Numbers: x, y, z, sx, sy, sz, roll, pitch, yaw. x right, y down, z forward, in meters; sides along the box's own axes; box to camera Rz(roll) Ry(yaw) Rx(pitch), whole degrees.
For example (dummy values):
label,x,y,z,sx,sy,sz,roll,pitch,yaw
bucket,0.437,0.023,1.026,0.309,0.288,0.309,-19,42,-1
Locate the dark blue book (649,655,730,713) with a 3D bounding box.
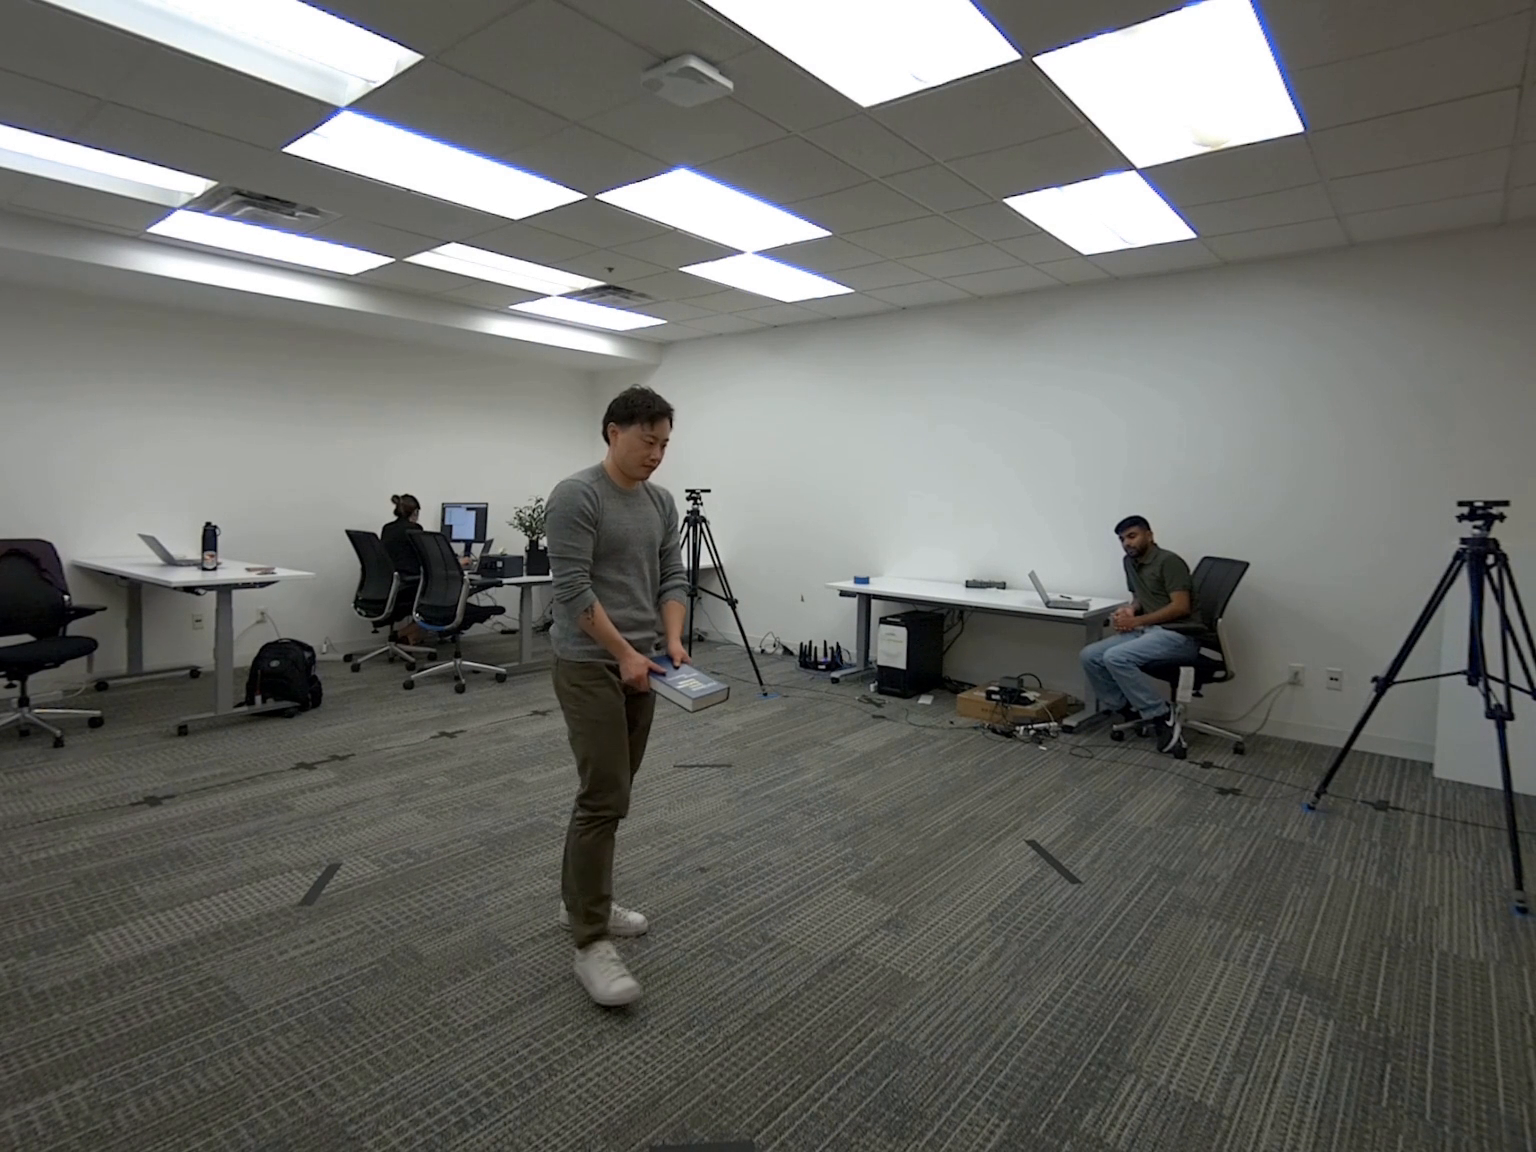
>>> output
label,x,y,z,sx,sy,sz,roll,pitch,yaw
dark blue book,-0.255,0.304,2.405,0.255,0.045,0.159,20,18,37
